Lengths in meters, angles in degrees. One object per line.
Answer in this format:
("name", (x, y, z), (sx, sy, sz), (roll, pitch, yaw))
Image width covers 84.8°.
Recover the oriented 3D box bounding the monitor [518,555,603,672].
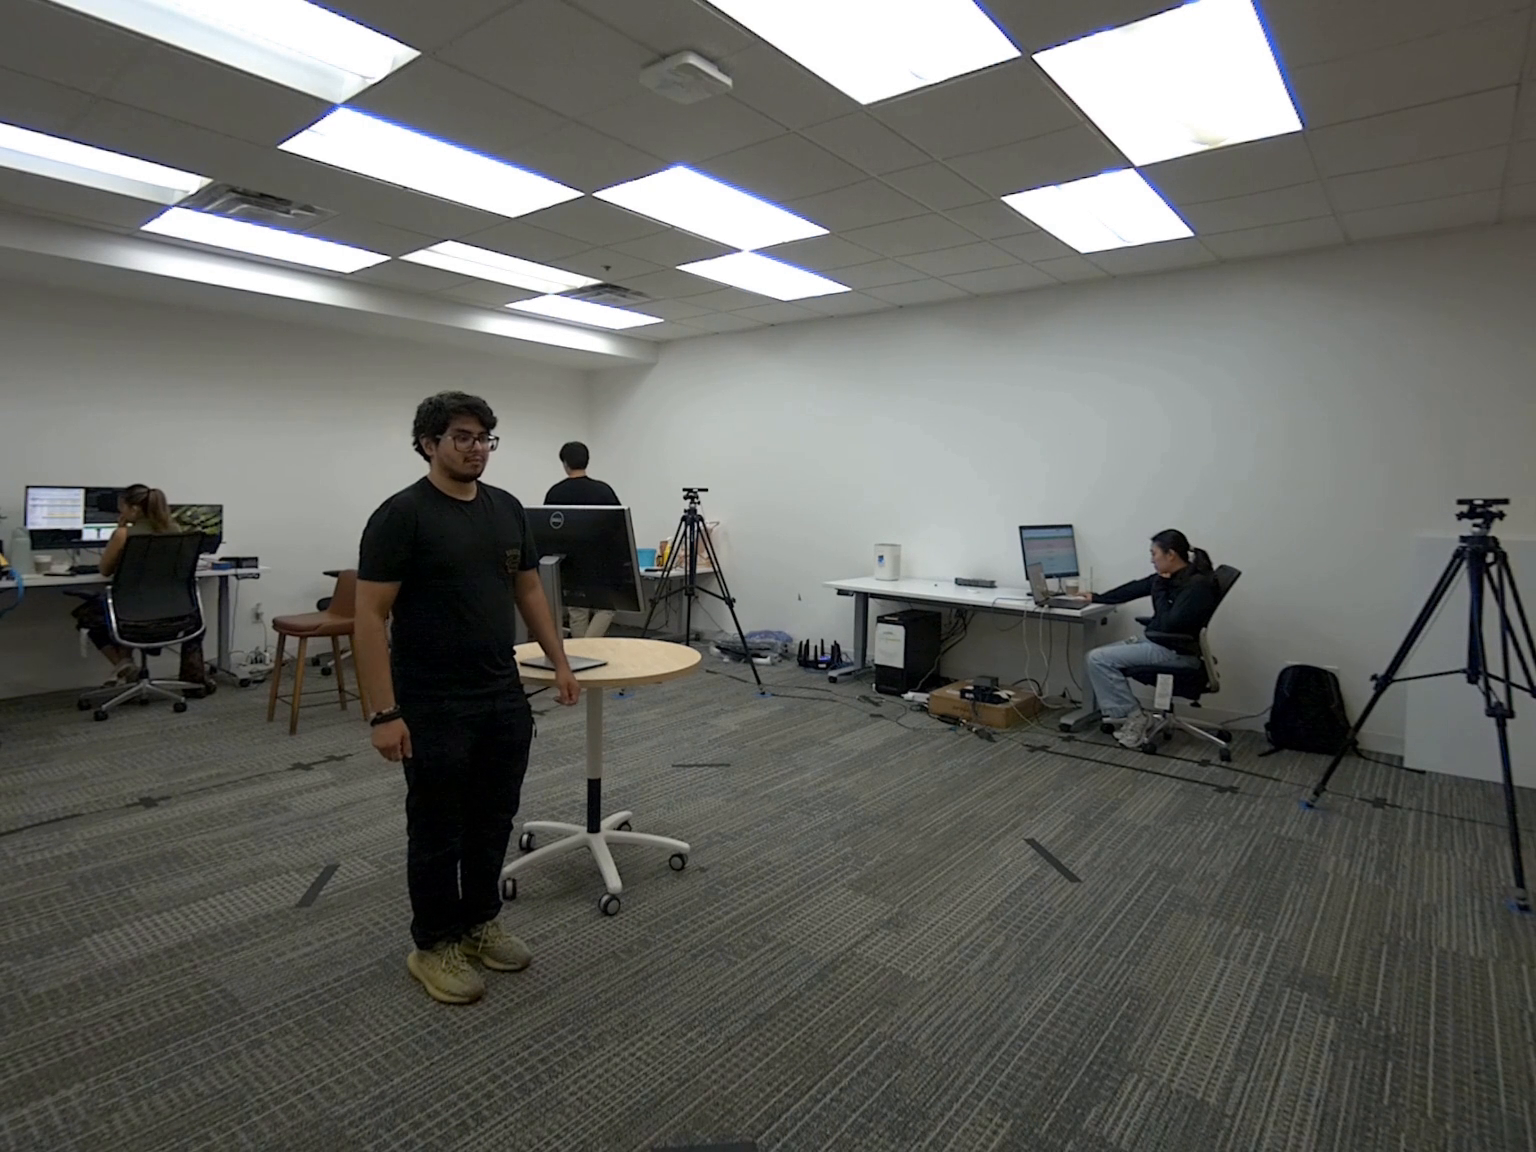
("monitor", (-0.719, 0.036, 2.874), (0.582, 0.549, 0.206), (3, 10, 30))
